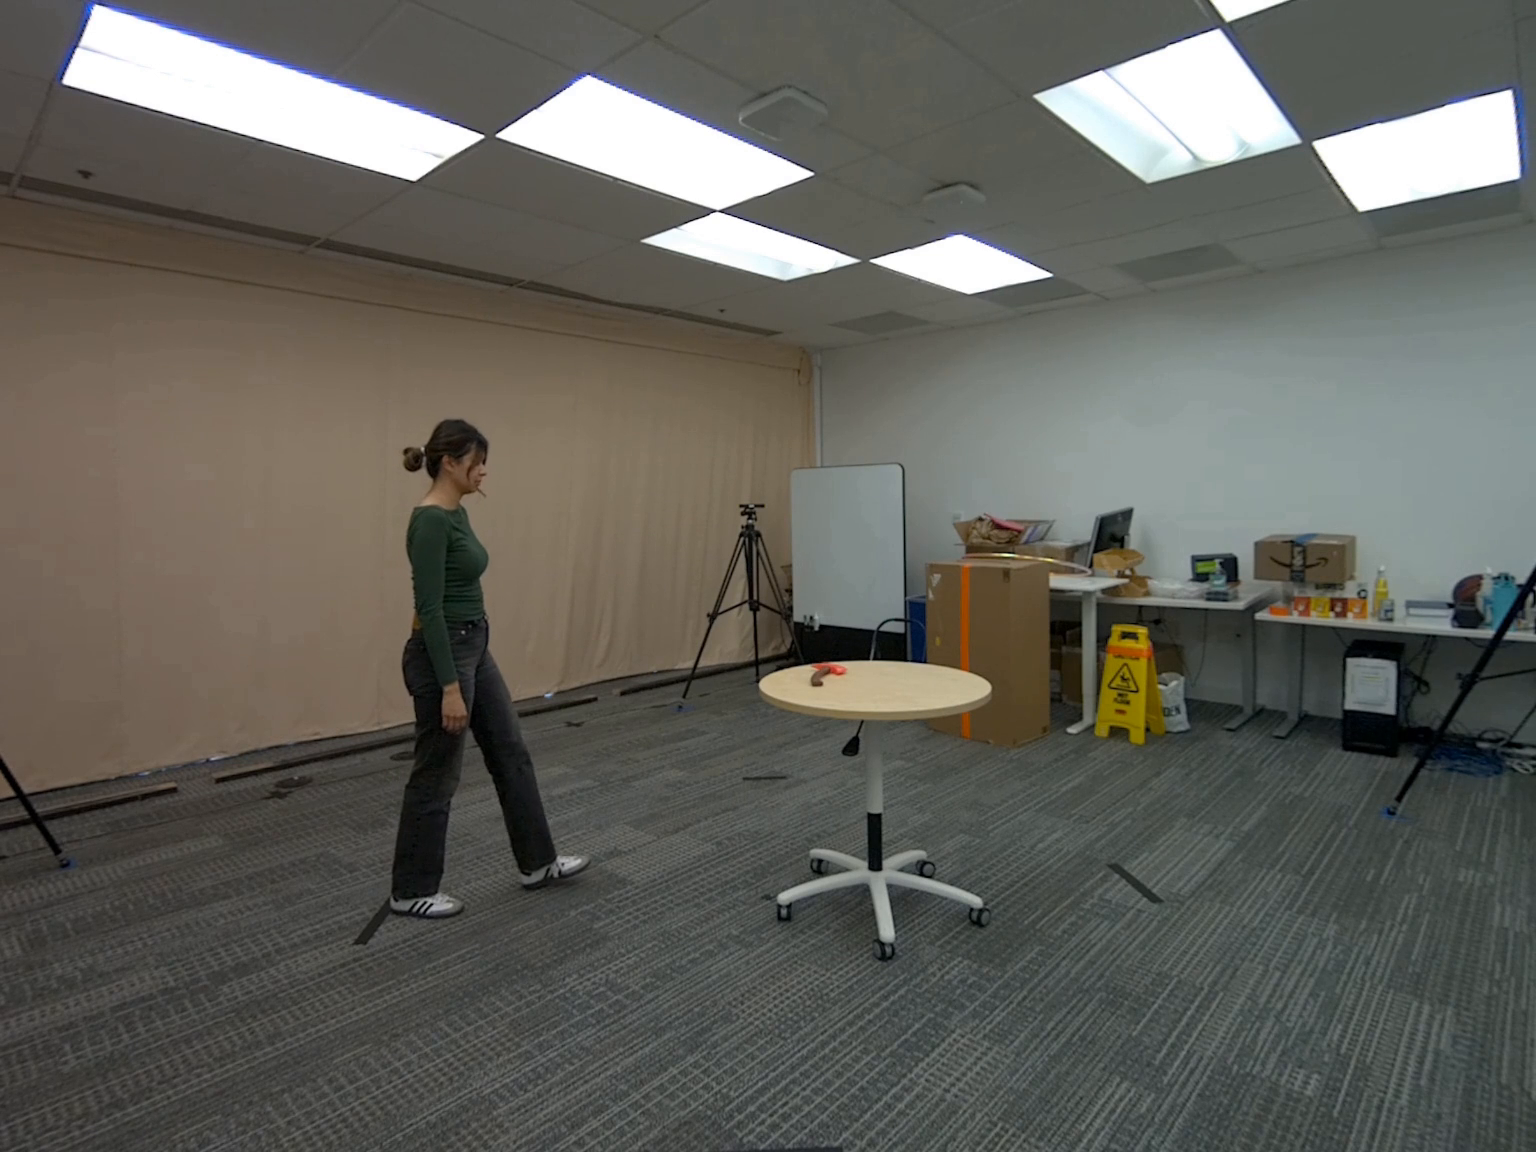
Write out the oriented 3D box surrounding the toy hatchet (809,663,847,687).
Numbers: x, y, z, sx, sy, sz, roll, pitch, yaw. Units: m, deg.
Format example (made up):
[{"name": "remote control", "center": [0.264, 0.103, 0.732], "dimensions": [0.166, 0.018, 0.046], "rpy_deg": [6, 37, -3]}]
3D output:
[{"name": "toy hatchet", "center": [0.219, 0.349, 2.930], "dimensions": [0.132, 0.029, 0.270], "rpy_deg": [4, 8, 3]}]
